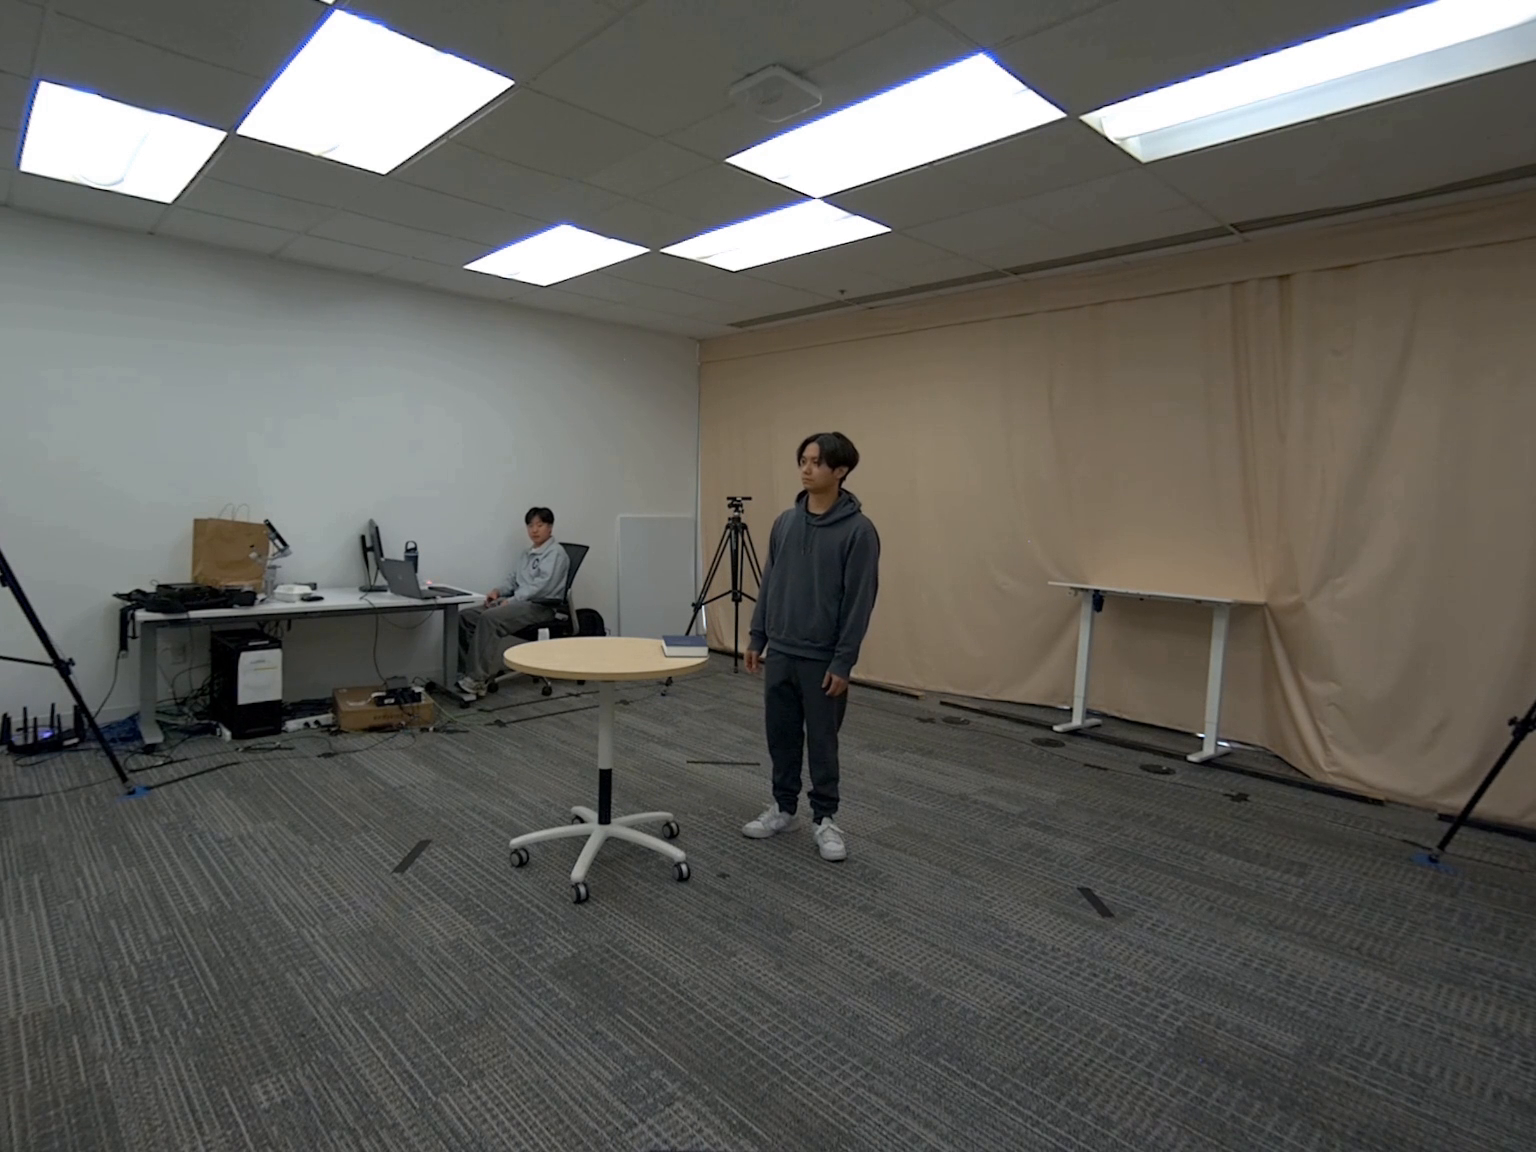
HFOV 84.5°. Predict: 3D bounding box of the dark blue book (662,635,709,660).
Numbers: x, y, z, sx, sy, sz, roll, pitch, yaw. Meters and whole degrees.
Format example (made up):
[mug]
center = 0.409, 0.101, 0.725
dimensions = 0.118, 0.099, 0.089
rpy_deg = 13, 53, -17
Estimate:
[dark blue book]
center = -0.335, 0.272, 3.267
dimensions = 0.162, 0.045, 0.248
rpy_deg = 0, 5, -10
